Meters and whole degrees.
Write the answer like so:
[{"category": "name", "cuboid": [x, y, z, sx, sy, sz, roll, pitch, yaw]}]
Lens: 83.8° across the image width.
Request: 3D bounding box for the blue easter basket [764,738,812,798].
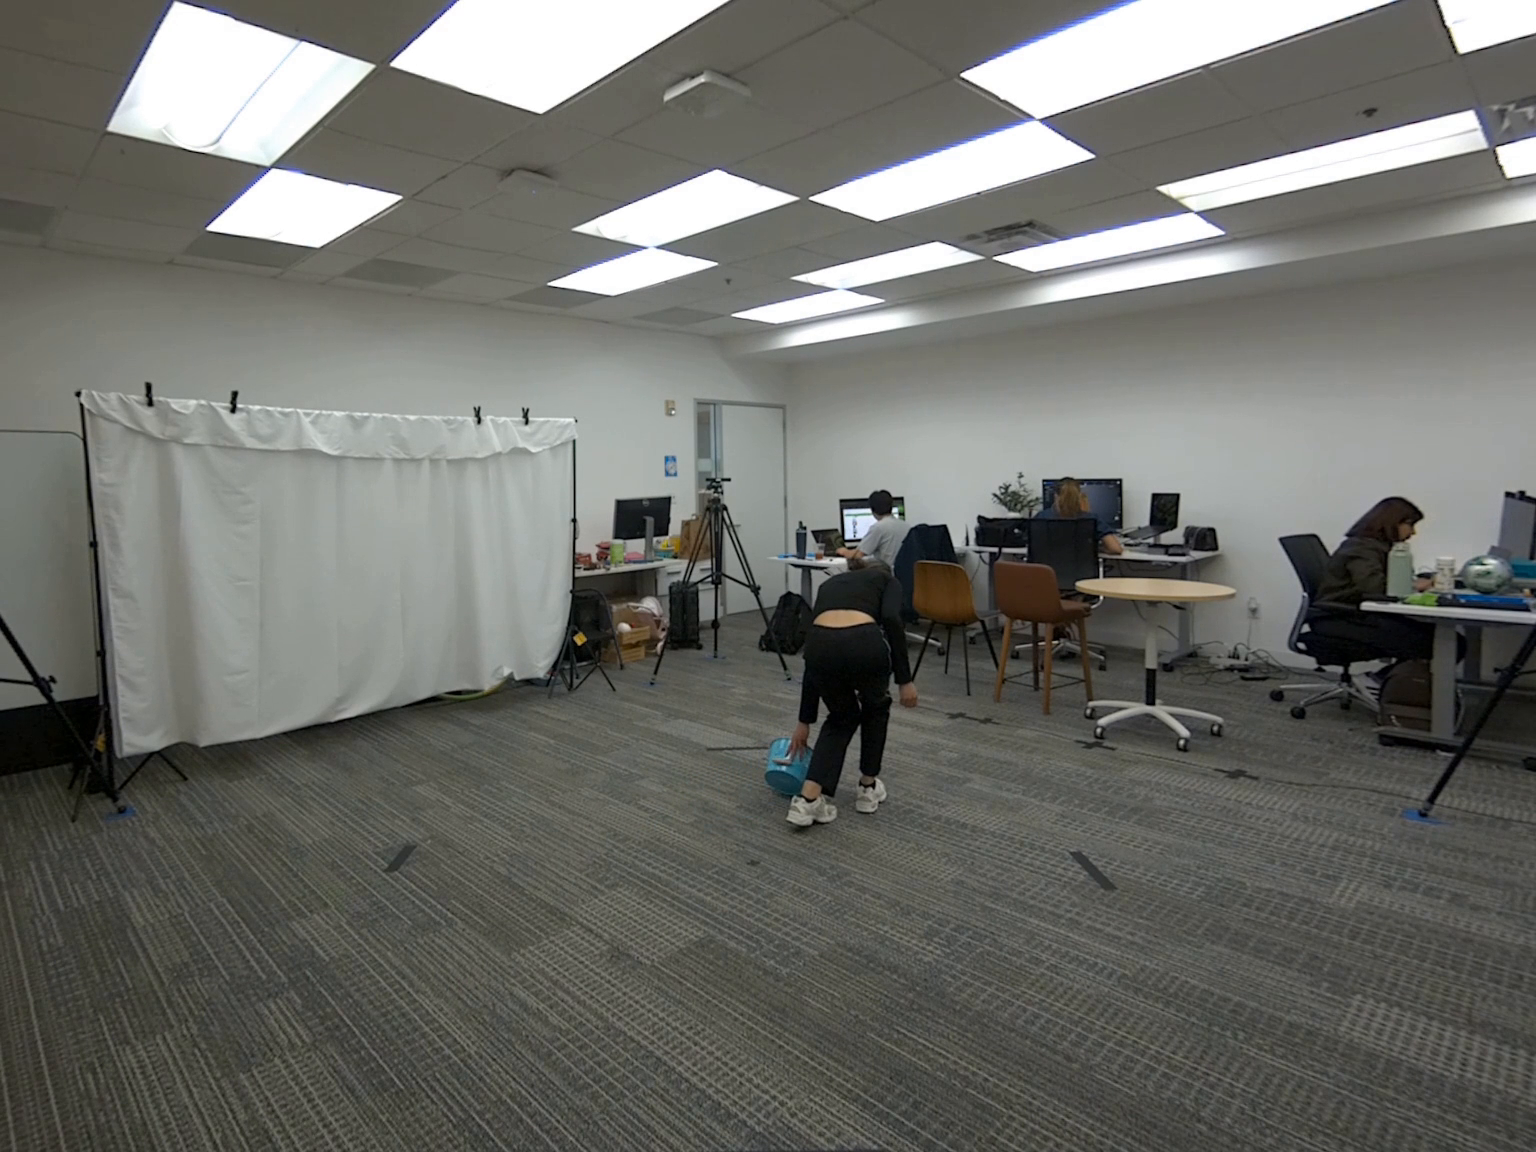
[{"category": "blue easter basket", "cuboid": [0.092, 0.849, 3.782, 0.249, 0.235, 0.157, 2, 42, 25]}]
